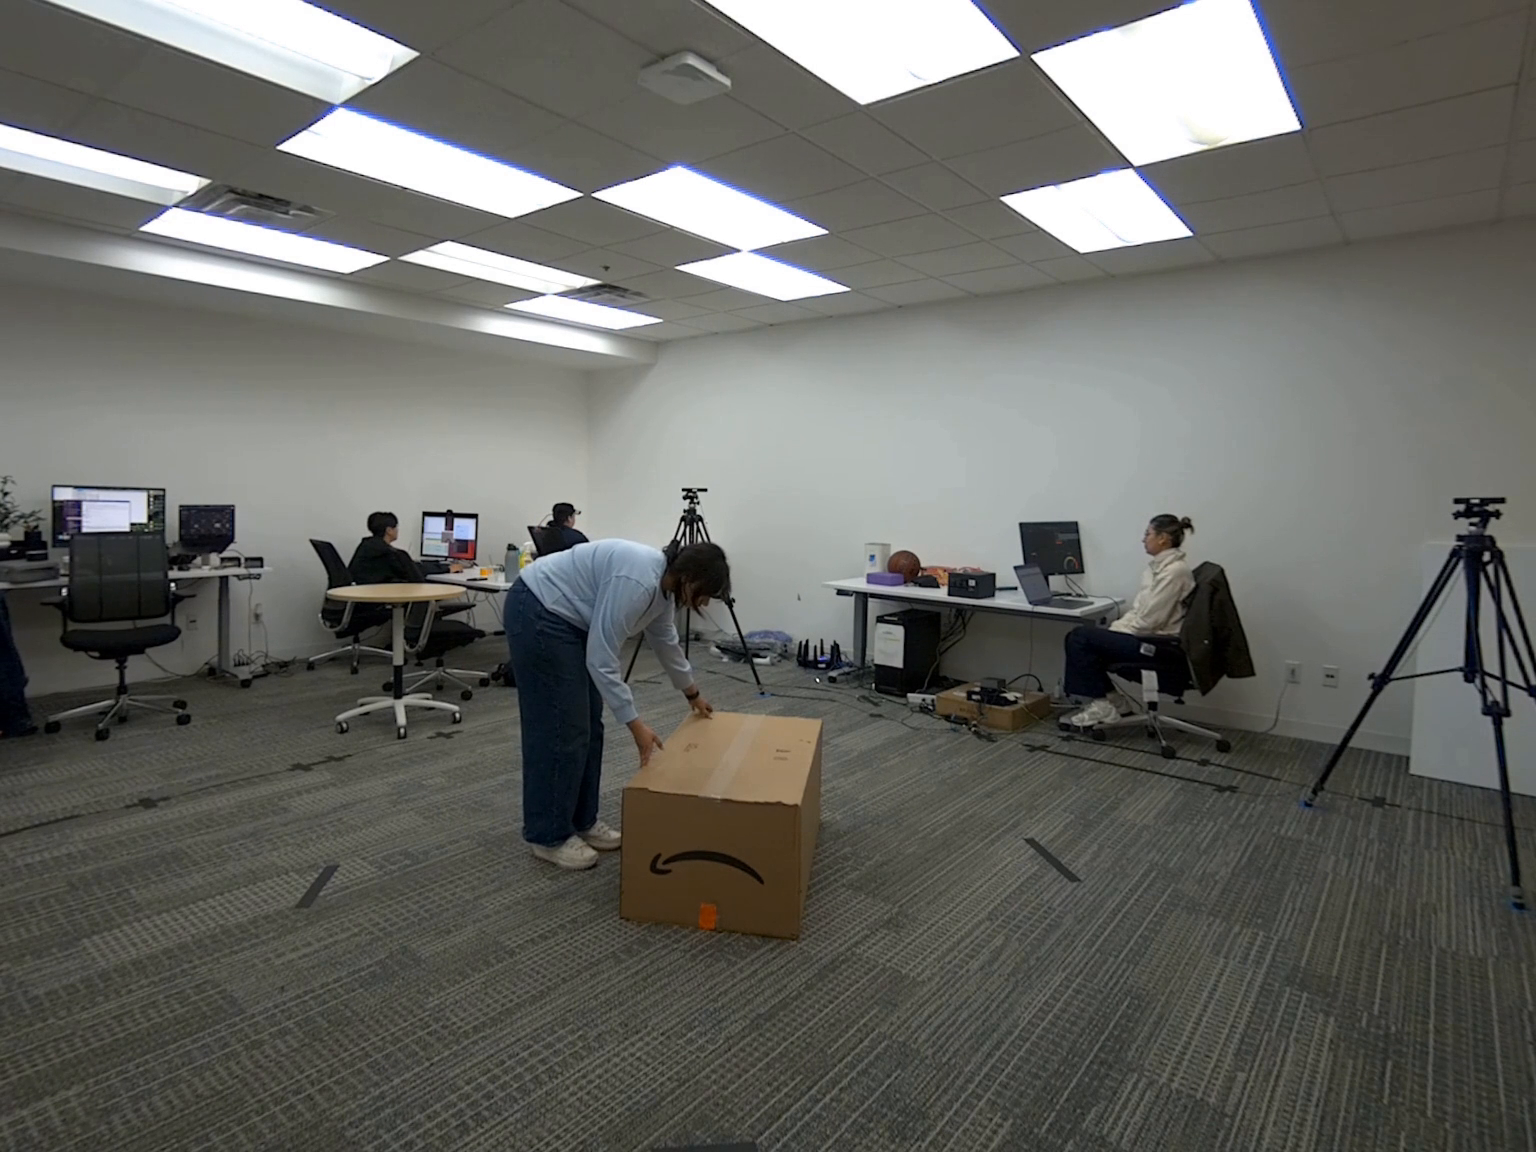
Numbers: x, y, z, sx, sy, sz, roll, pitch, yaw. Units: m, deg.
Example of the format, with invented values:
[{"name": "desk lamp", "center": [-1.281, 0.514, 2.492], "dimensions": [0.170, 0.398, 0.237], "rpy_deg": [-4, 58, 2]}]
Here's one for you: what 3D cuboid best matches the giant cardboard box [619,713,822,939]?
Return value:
[{"name": "giant cardboard box", "center": [-0.129, 0.848, 3.160], "dimensions": [0.584, 0.425, 1.018], "rpy_deg": [2, 5, 9]}]
